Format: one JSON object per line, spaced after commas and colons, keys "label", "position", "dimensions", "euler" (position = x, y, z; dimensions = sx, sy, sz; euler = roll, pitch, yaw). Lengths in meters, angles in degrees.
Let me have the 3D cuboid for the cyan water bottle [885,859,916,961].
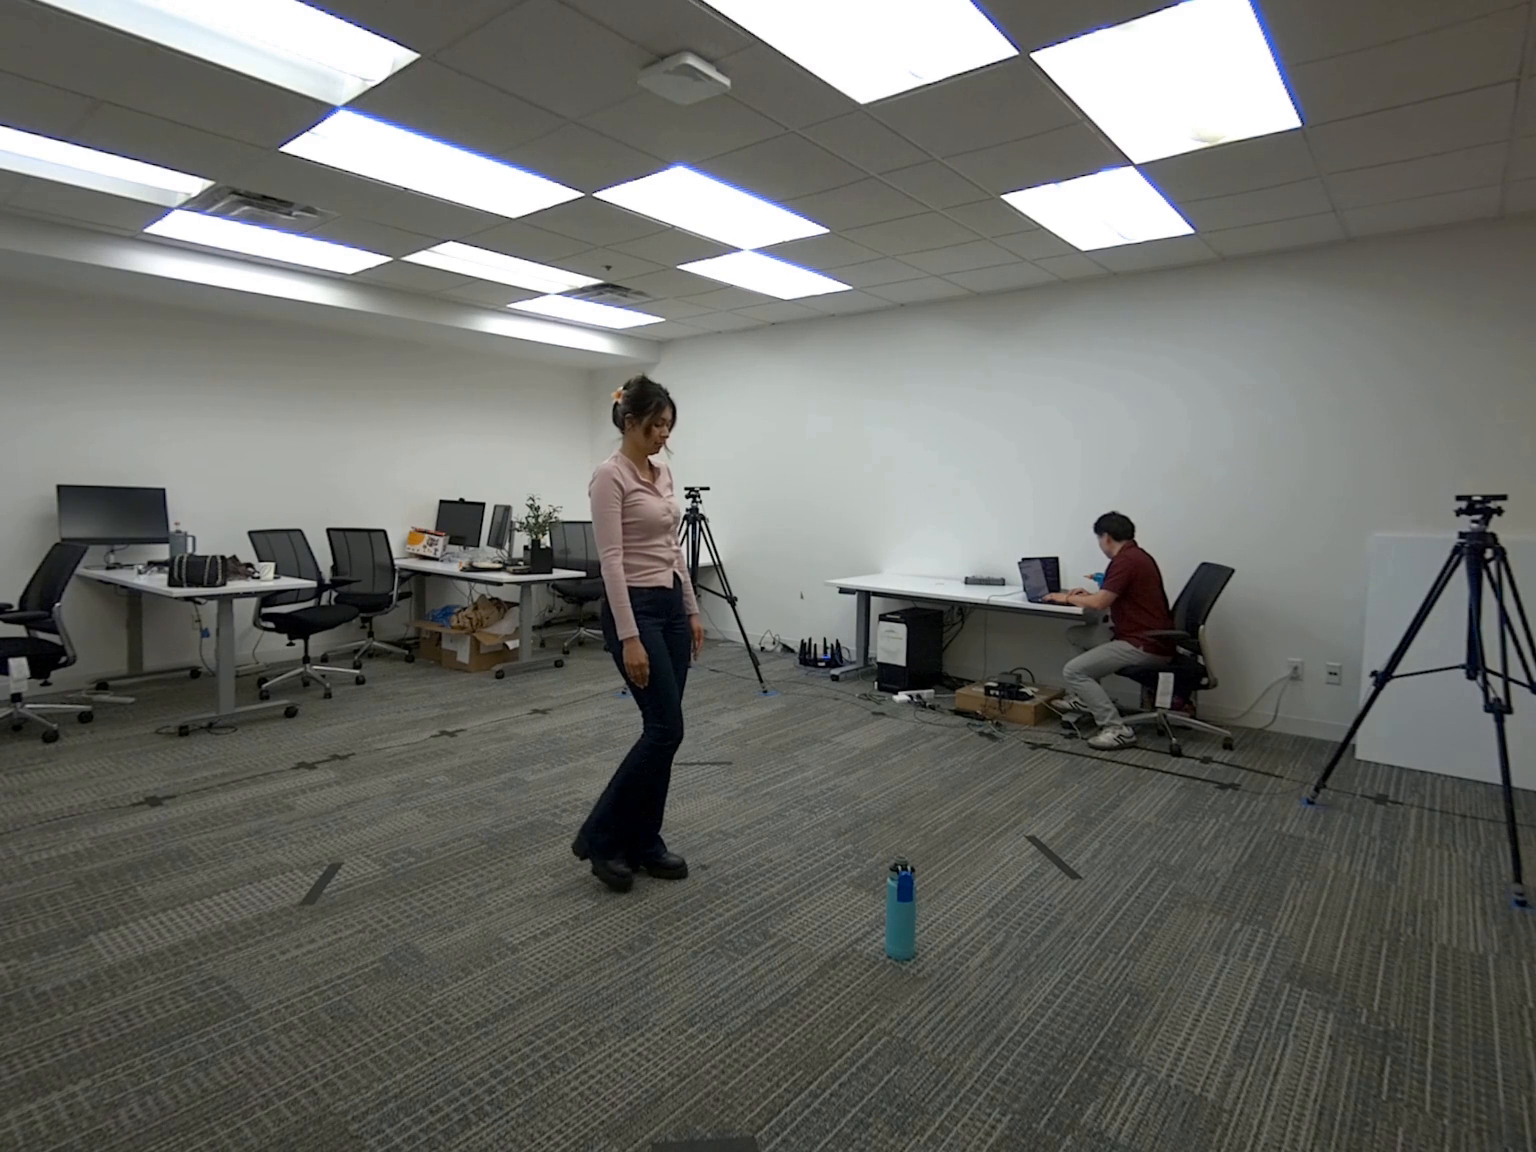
{"label": "cyan water bottle", "position": [0.399, 0.993, 2.557], "dimensions": [0.092, 0.282, 0.093], "euler": [2, 4, -2]}
